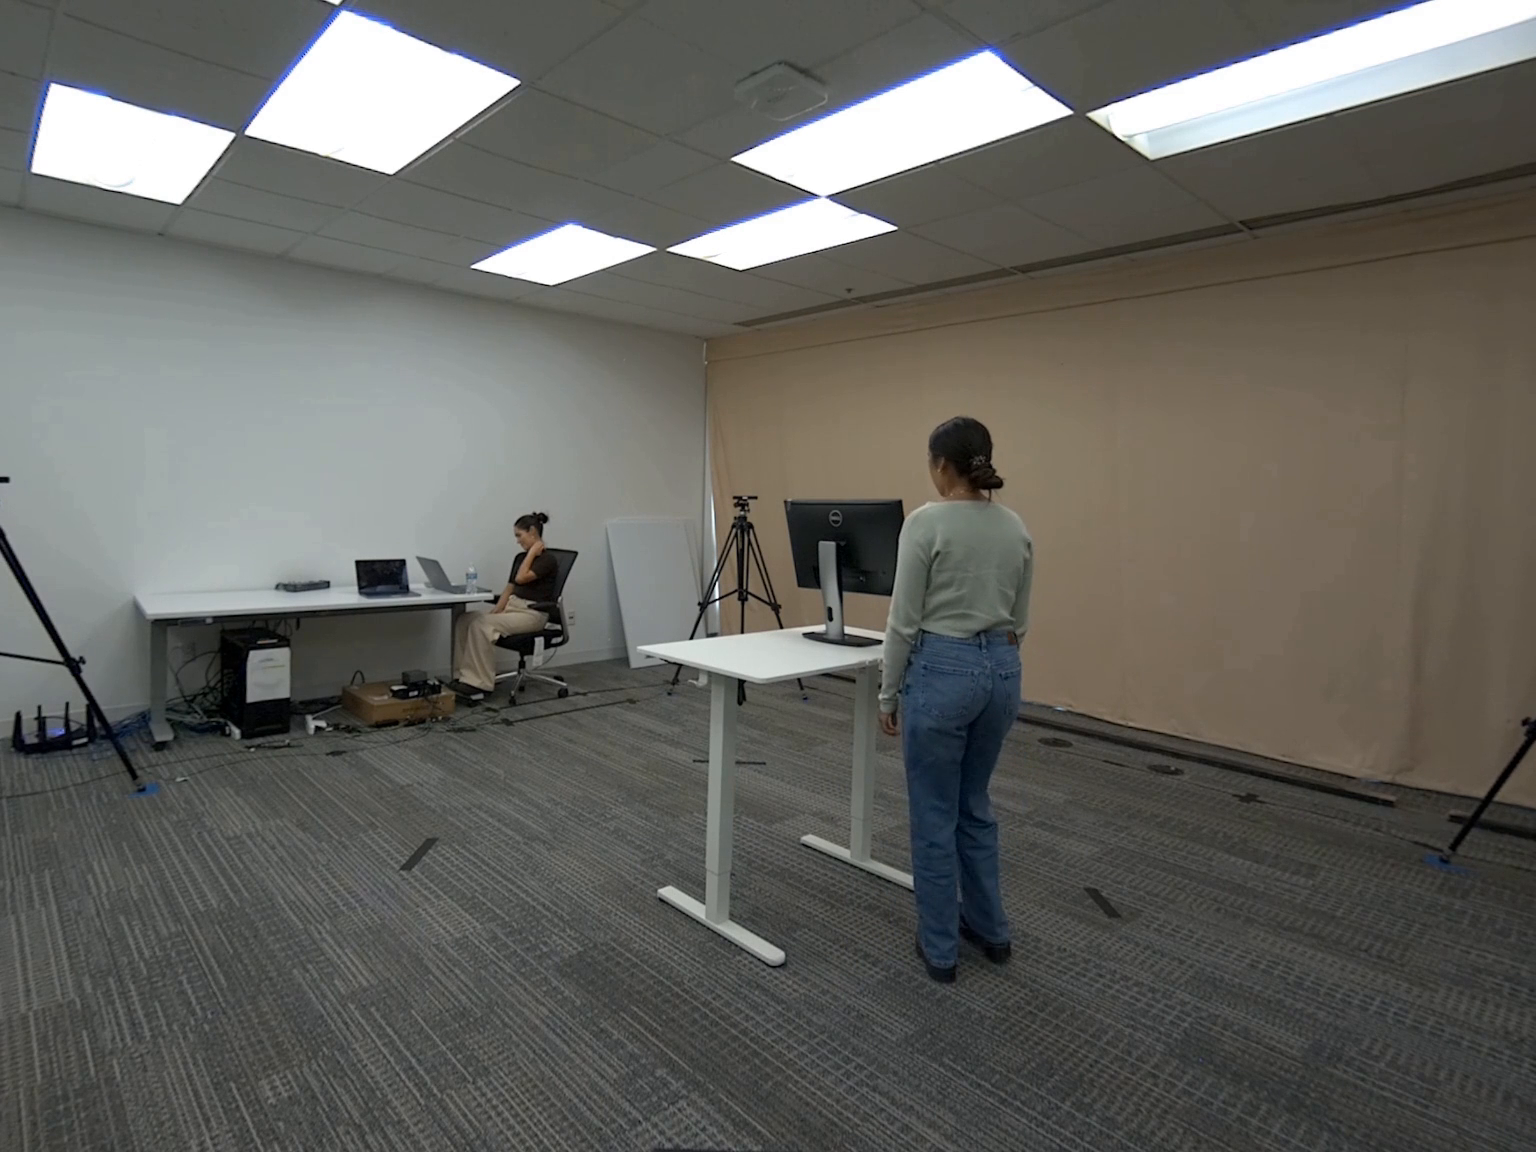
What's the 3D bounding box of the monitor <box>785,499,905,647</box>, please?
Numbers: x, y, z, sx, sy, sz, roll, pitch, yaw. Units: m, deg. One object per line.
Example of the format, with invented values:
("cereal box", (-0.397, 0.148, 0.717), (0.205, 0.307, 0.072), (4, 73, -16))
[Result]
("monitor", (0.263, -0.020, 3.044), (0.543, 0.516, 0.170), (3, 1, 44))
